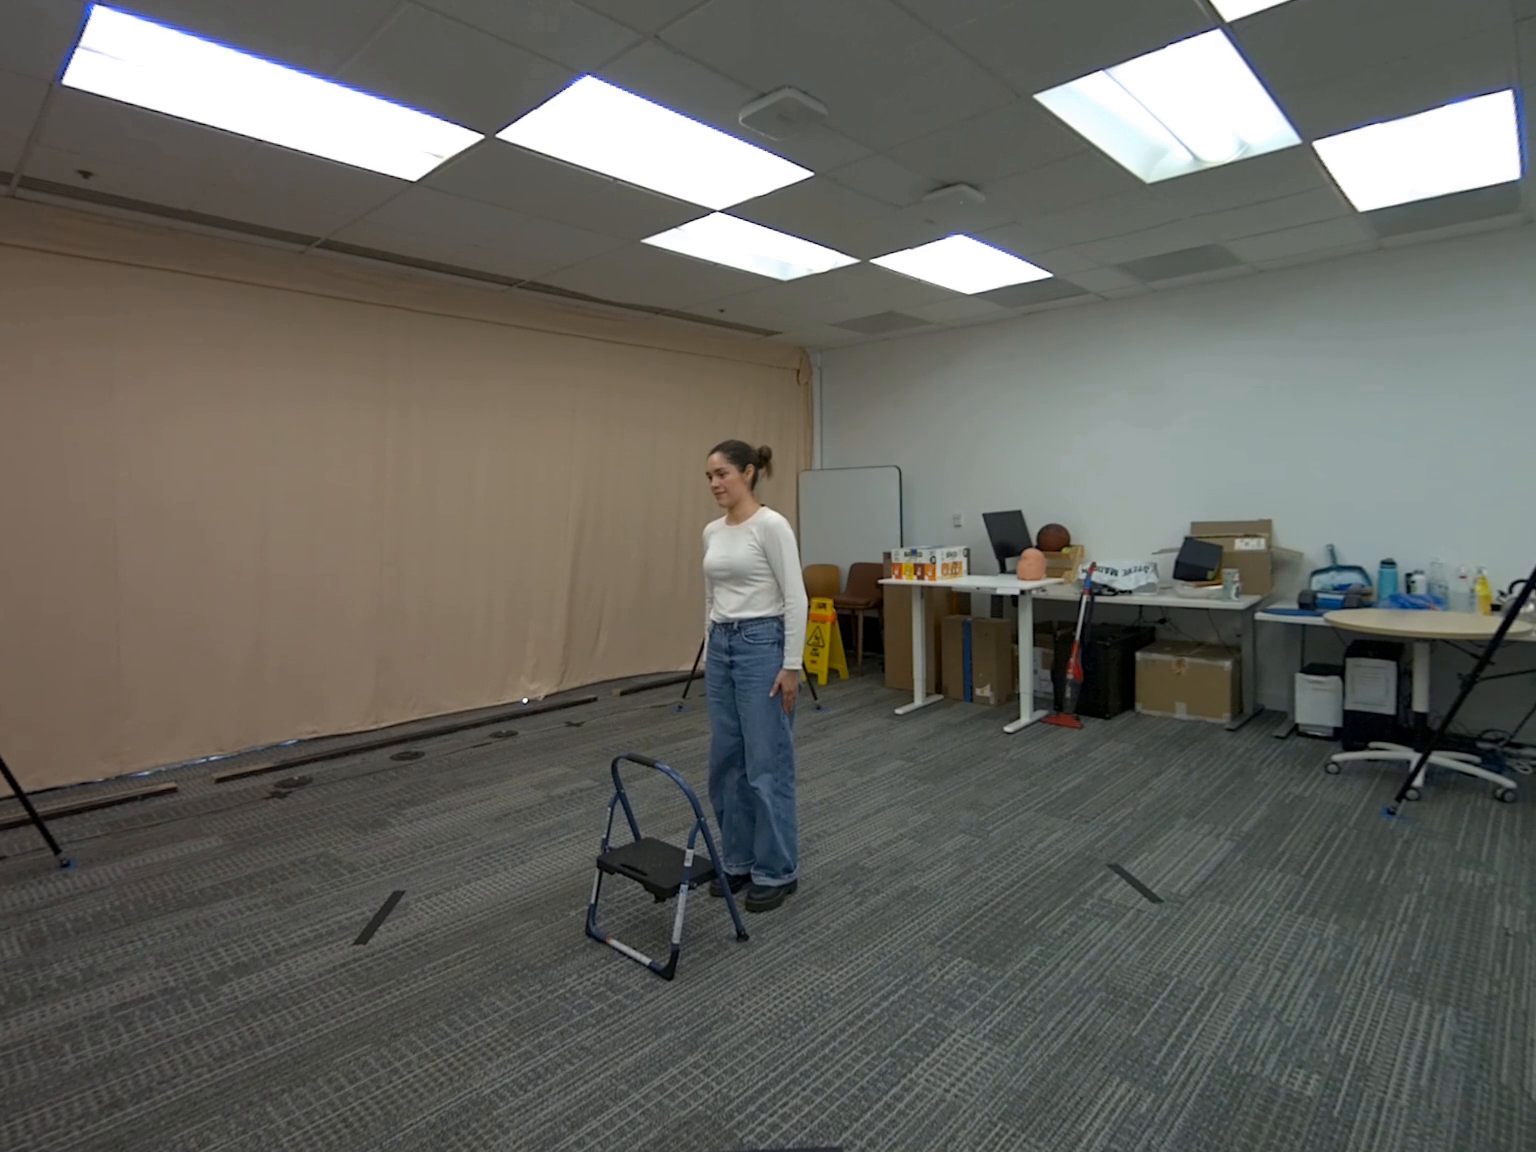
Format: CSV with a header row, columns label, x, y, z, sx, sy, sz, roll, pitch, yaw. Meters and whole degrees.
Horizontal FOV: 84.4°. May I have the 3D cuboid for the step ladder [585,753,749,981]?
label,x,y,z,sx,sy,sz,roll,pitch,yaw
step ladder,-0.335,0.865,2.716,0.445,0.605,0.338,2,4,42
